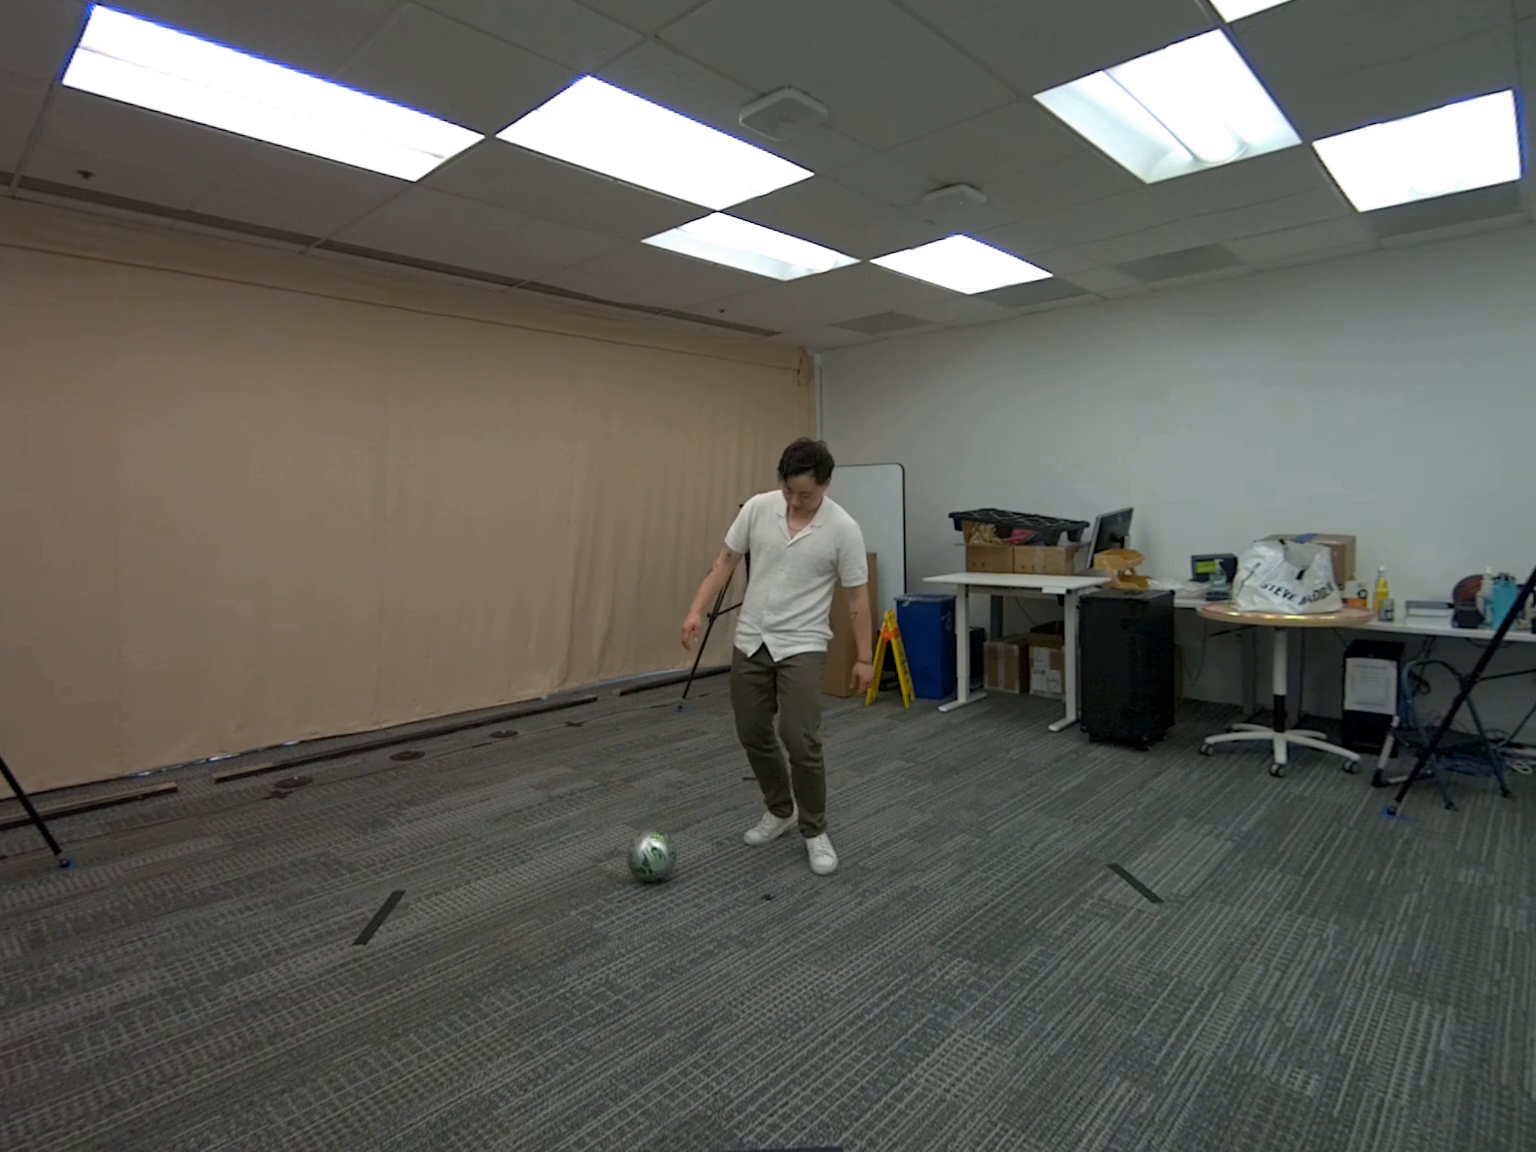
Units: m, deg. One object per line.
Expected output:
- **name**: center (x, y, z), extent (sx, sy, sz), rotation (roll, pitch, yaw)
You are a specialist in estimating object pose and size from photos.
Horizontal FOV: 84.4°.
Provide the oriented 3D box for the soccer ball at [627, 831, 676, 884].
- **soccer ball**: center (-0.435, 1.046, 3.146), extent (0.187, 0.187, 0.188), rotation (-1, 4, -2)
